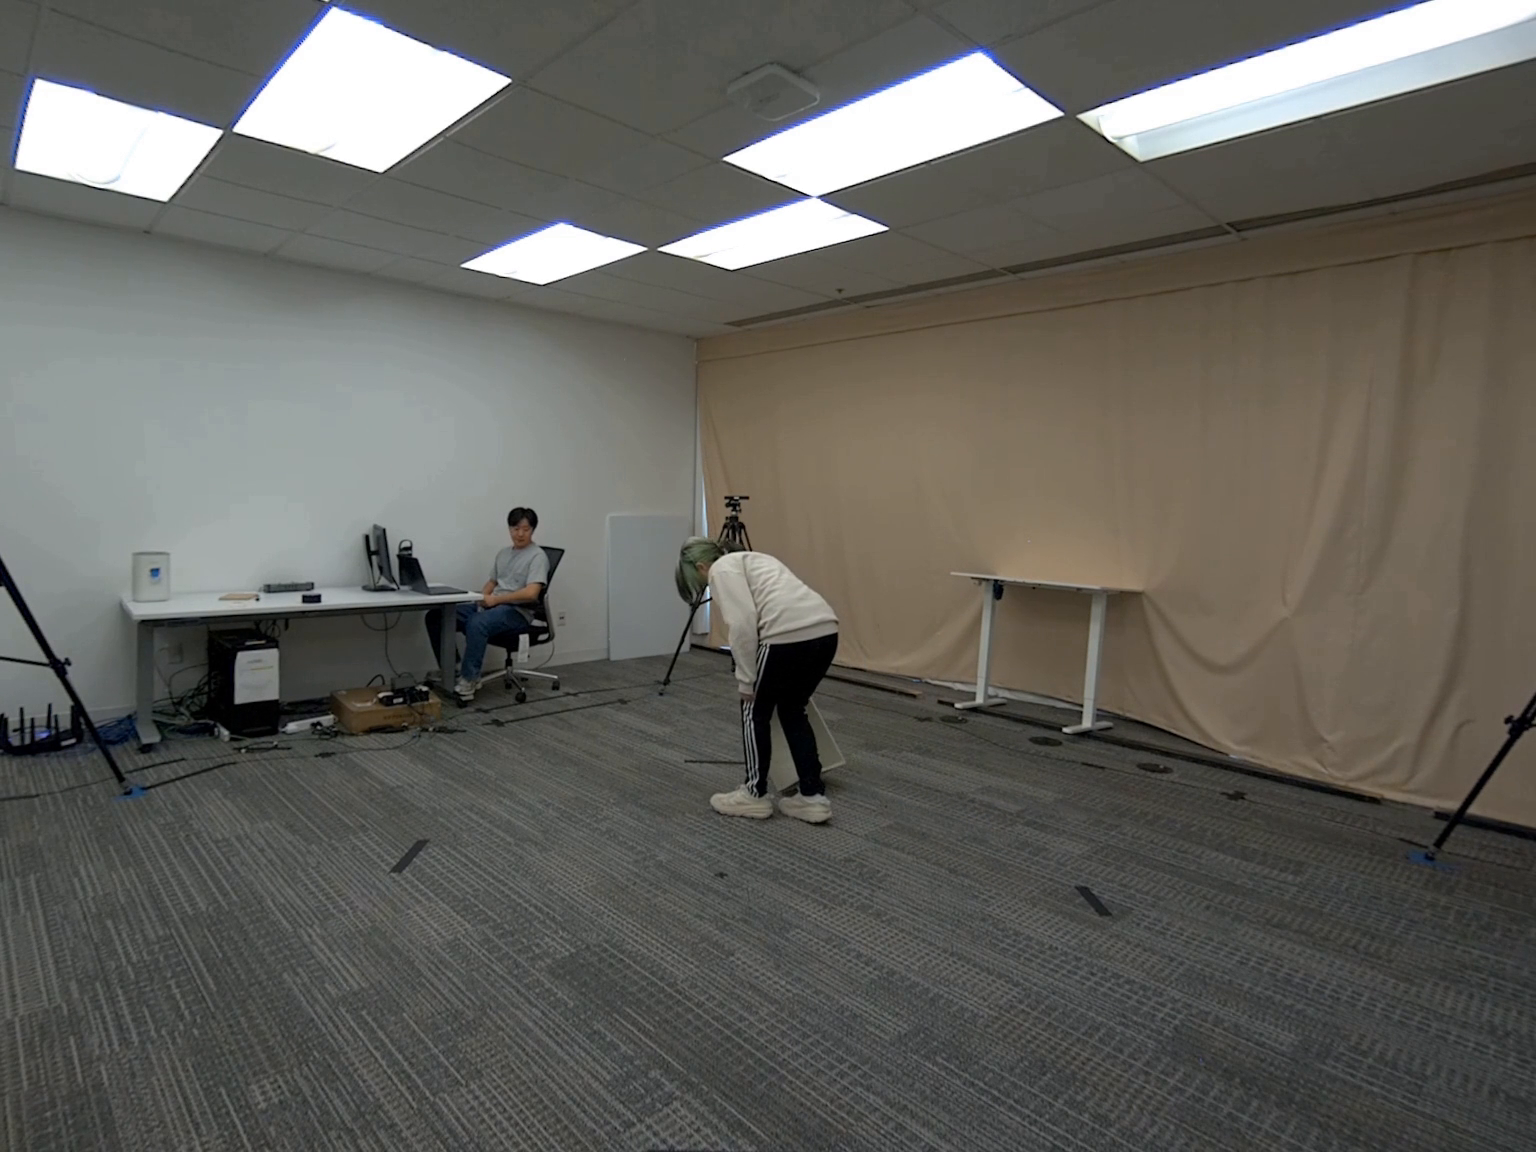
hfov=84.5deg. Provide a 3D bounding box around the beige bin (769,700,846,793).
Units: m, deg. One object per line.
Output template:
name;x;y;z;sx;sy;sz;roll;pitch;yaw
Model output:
beige bin;0.104;0.807;4.130;0.369;0.432;0.189;-2;-37;-48
